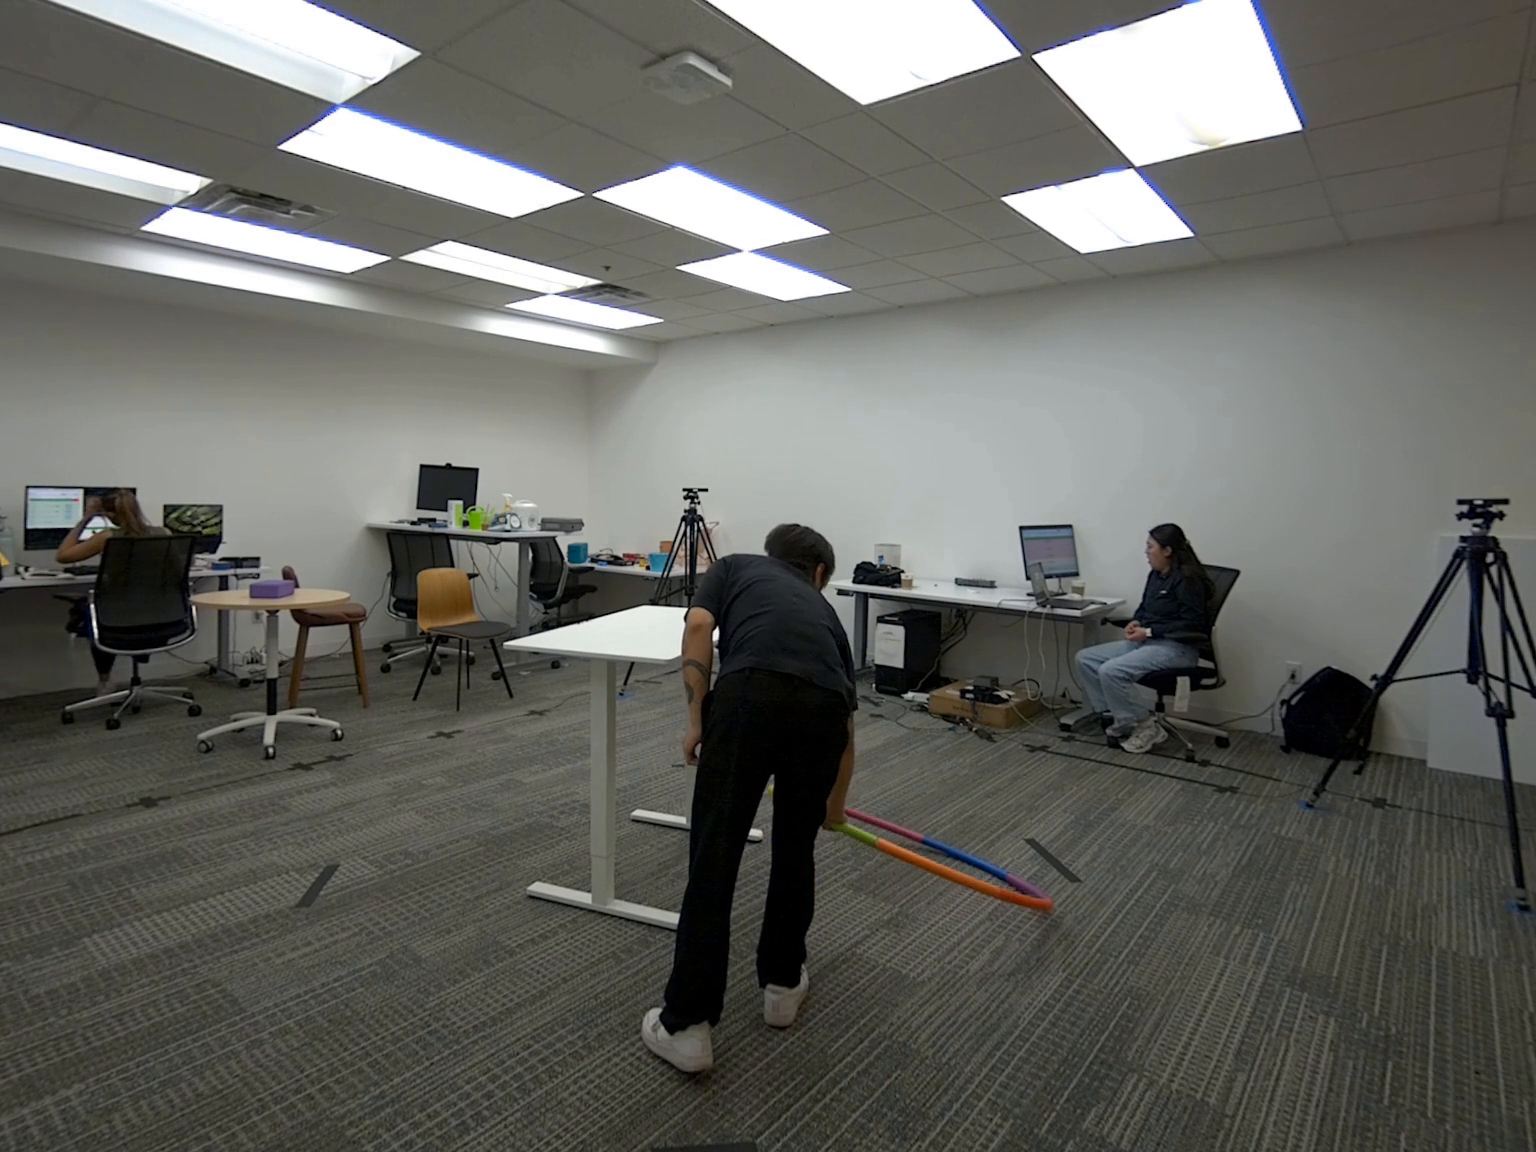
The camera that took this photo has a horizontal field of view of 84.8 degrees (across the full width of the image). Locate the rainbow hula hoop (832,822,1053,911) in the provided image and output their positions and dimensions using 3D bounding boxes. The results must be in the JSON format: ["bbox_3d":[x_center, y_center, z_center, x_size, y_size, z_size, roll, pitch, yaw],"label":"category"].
[{"bbox_3d":[0.454,0.898,2.915,0.983,0.036,0.970,20,-9,2],"label":"rainbow hula hoop"}]
